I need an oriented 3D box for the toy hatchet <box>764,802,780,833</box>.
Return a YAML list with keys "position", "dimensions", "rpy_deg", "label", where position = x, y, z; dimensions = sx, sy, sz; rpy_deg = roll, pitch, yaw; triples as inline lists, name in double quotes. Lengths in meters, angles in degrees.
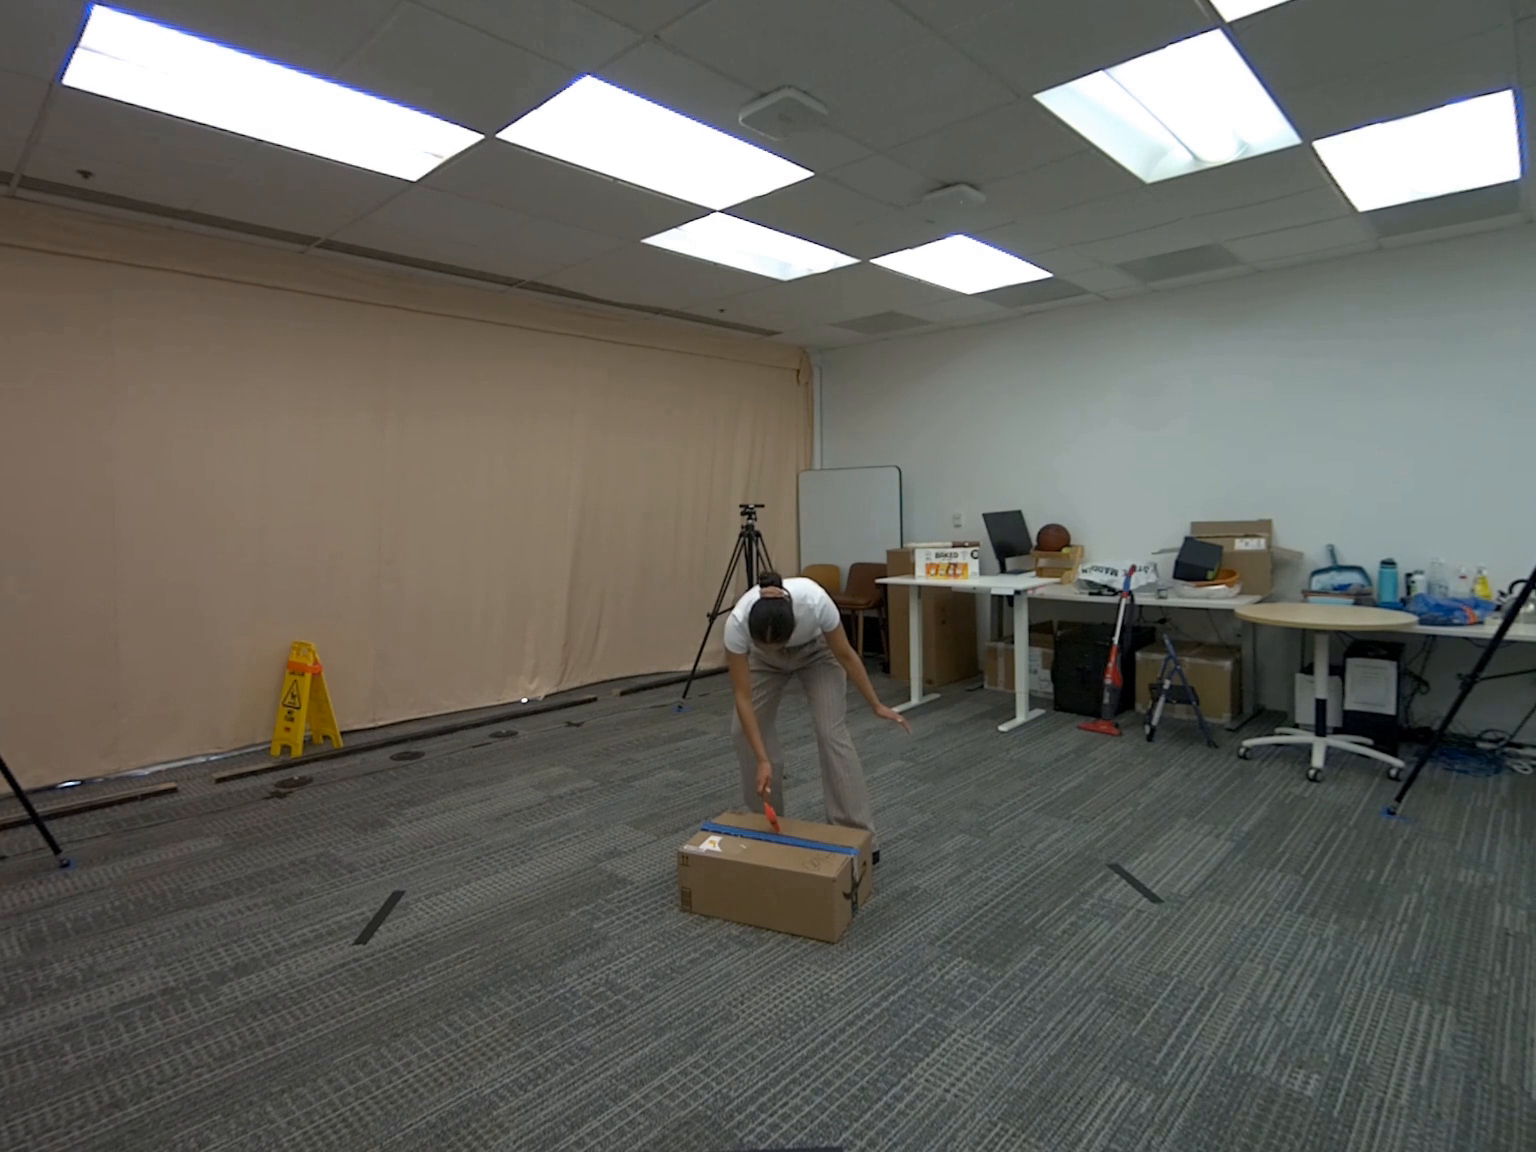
- position: [0.013, 0.845, 3.085]
  dimensions: [0.029, 0.131, 0.270]
  rpy_deg: [-23, 2, 1]
  label: "toy hatchet"
